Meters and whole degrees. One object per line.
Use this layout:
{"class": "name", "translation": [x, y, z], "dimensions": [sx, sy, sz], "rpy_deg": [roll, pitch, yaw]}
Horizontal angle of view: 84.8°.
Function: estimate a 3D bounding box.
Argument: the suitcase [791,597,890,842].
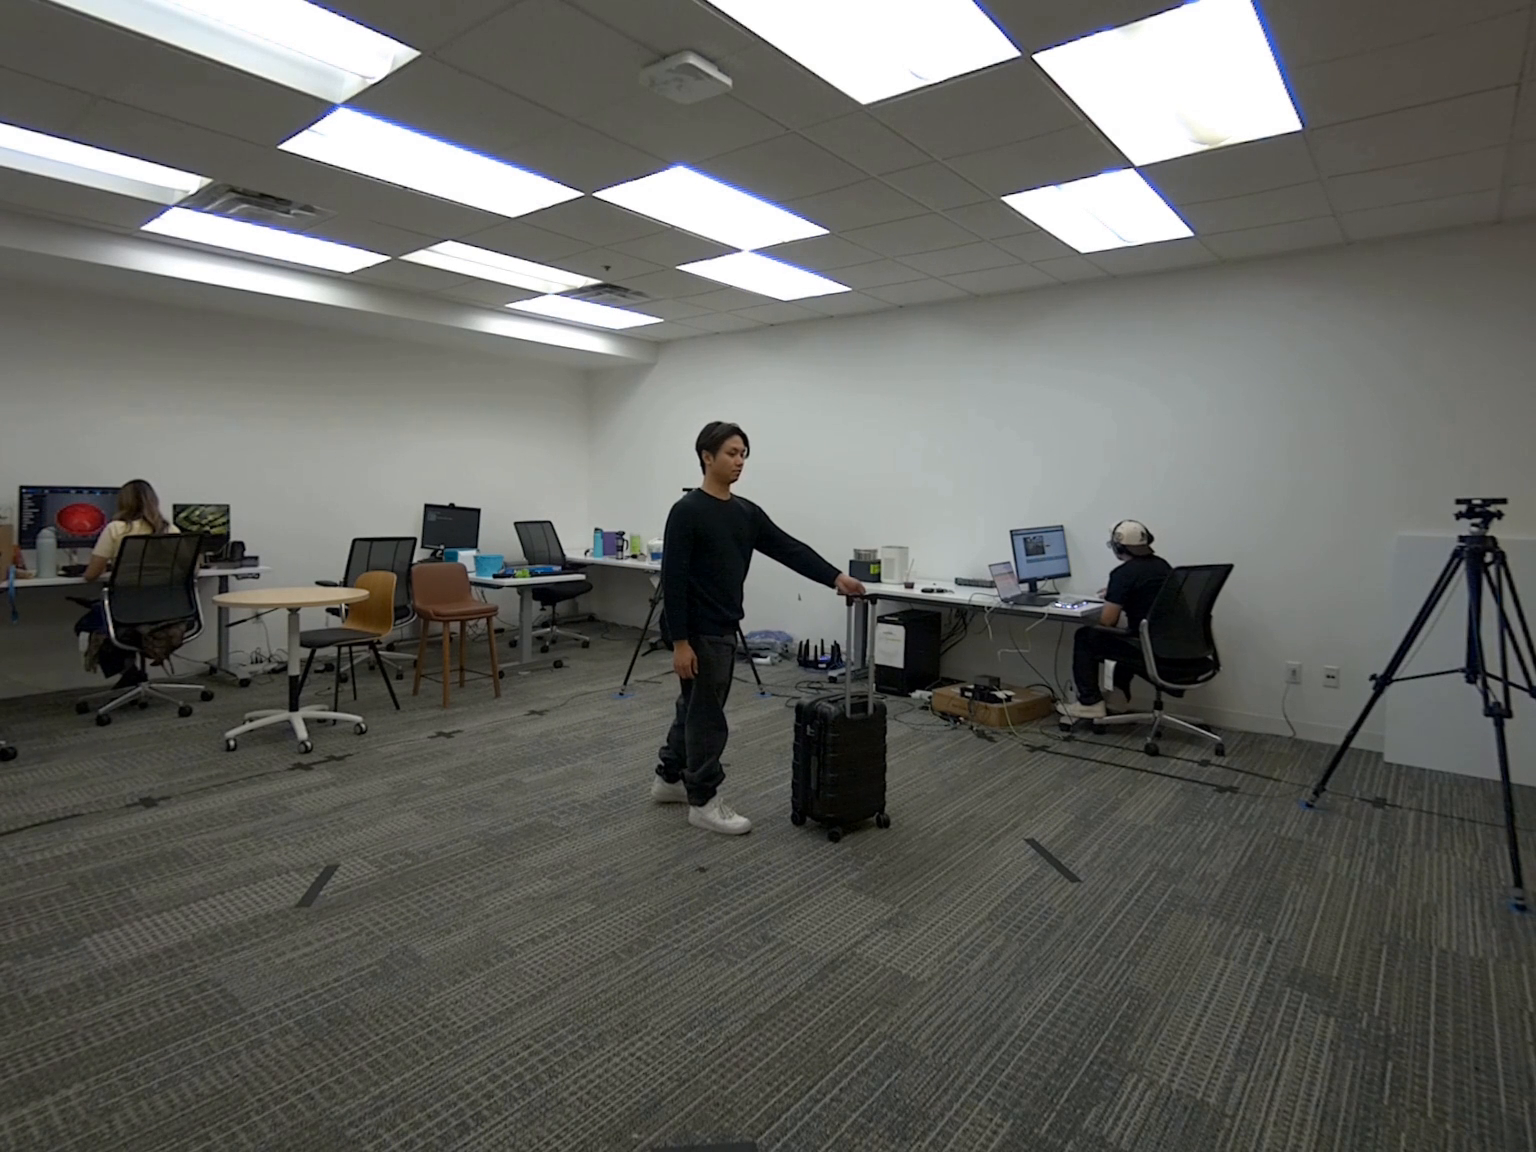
{"class": "suitcase", "translation": [0.295, 0.562, 3.552], "dimensions": [0.373, 0.979, 0.265], "rpy_deg": [0, 0, -35]}
